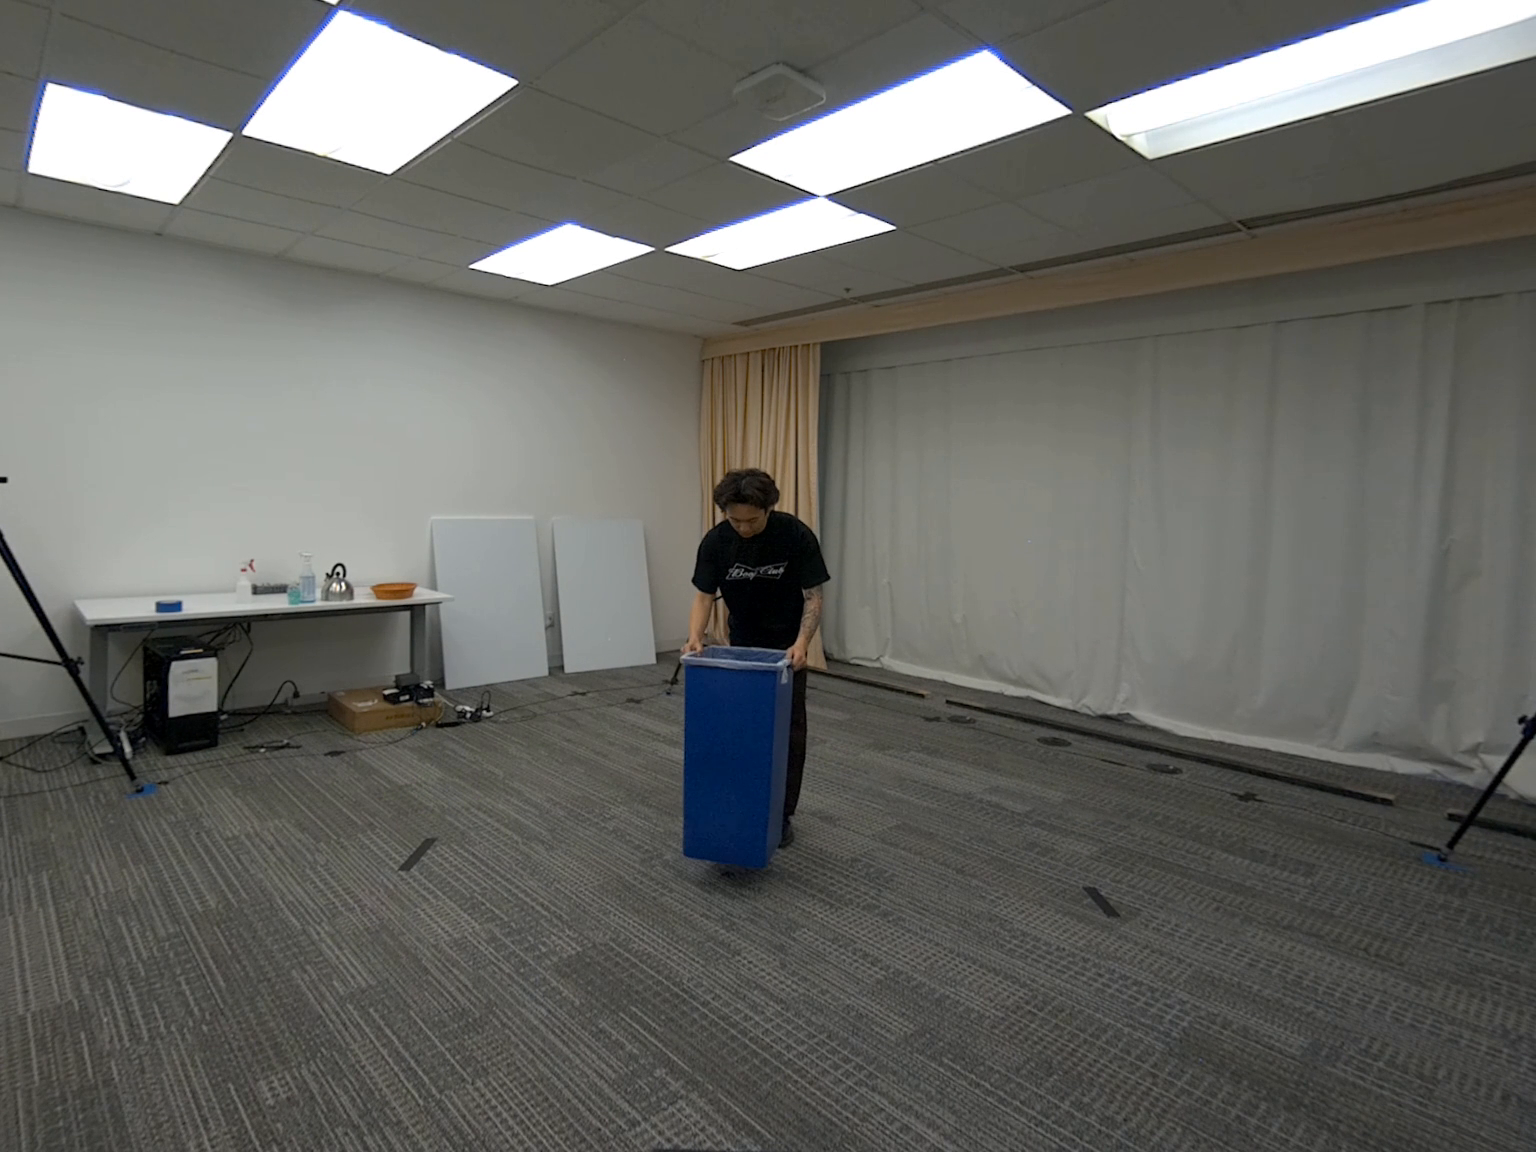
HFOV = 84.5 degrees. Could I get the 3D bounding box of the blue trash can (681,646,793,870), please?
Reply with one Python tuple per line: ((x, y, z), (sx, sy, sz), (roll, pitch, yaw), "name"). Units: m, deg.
((-0.127, 0.644, 3.083), (0.378, 0.713, 0.374), (3, 1, 13), "blue trash can")
